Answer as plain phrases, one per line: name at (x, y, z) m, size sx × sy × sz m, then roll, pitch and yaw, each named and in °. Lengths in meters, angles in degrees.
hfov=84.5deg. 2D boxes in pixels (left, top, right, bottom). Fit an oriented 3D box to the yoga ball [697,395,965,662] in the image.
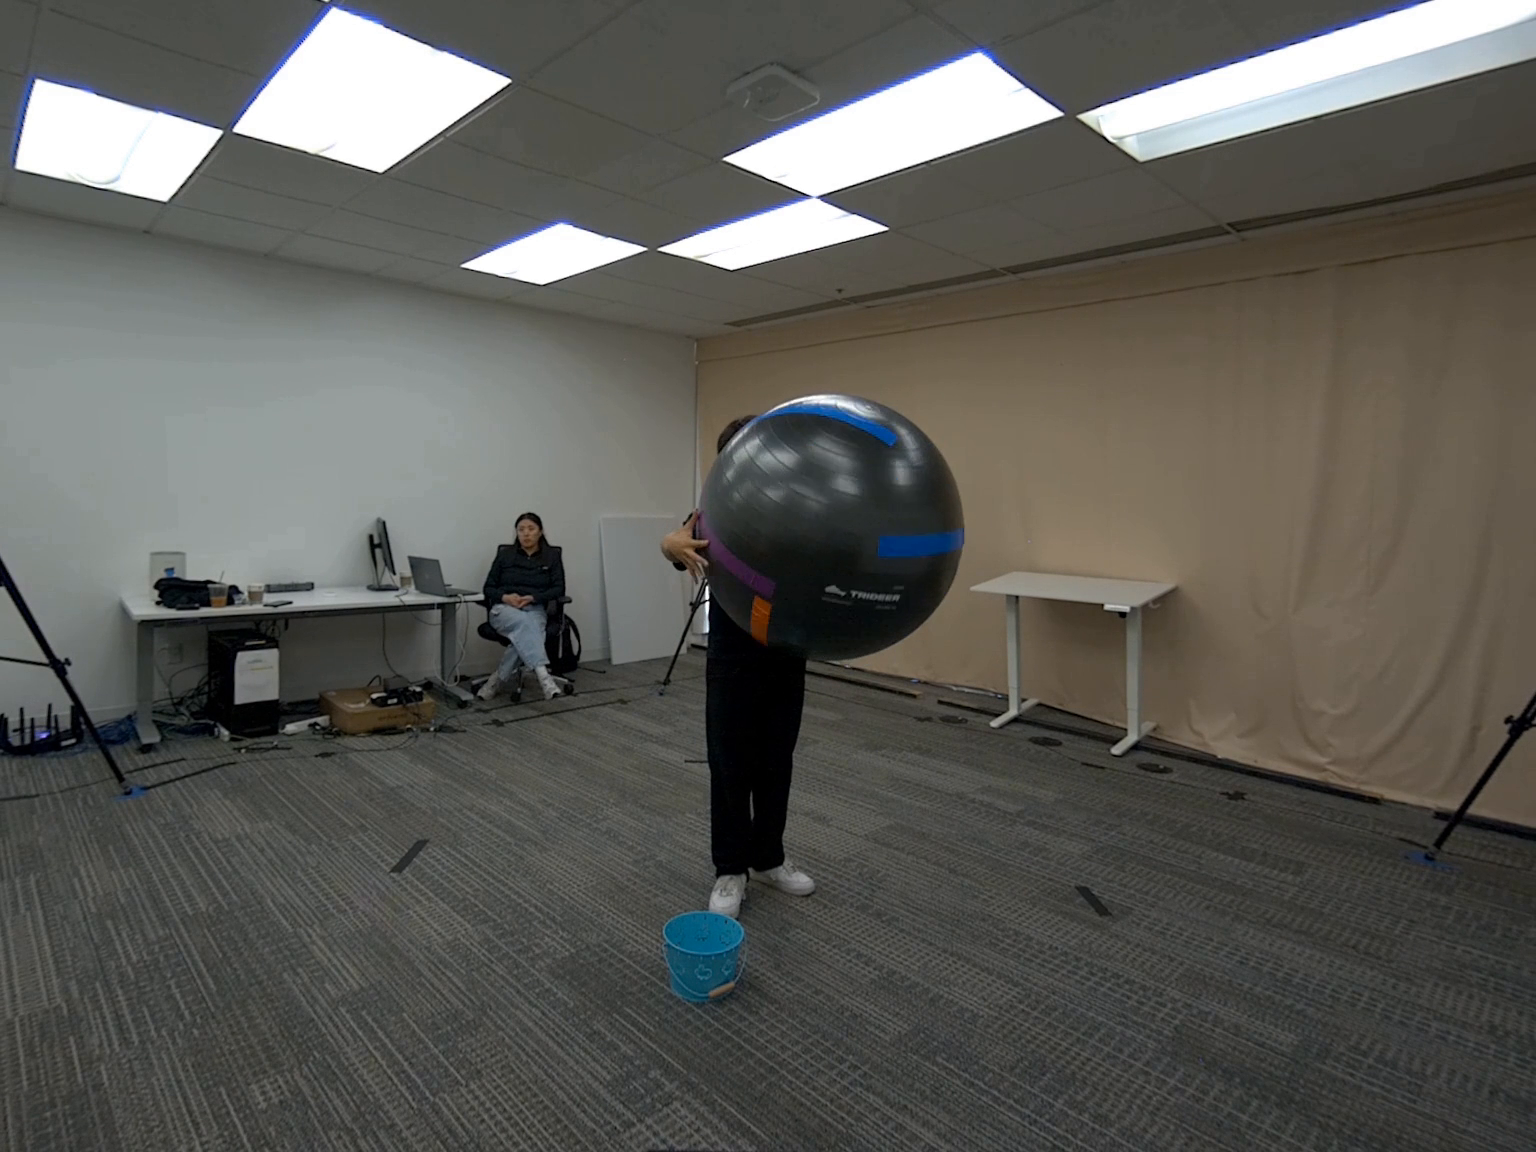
yoga ball at (0.176, -0.132, 2.405) m, size 0.757 × 0.756 × 0.761 m, roll 1°, pitch 4°, yaw -1°
